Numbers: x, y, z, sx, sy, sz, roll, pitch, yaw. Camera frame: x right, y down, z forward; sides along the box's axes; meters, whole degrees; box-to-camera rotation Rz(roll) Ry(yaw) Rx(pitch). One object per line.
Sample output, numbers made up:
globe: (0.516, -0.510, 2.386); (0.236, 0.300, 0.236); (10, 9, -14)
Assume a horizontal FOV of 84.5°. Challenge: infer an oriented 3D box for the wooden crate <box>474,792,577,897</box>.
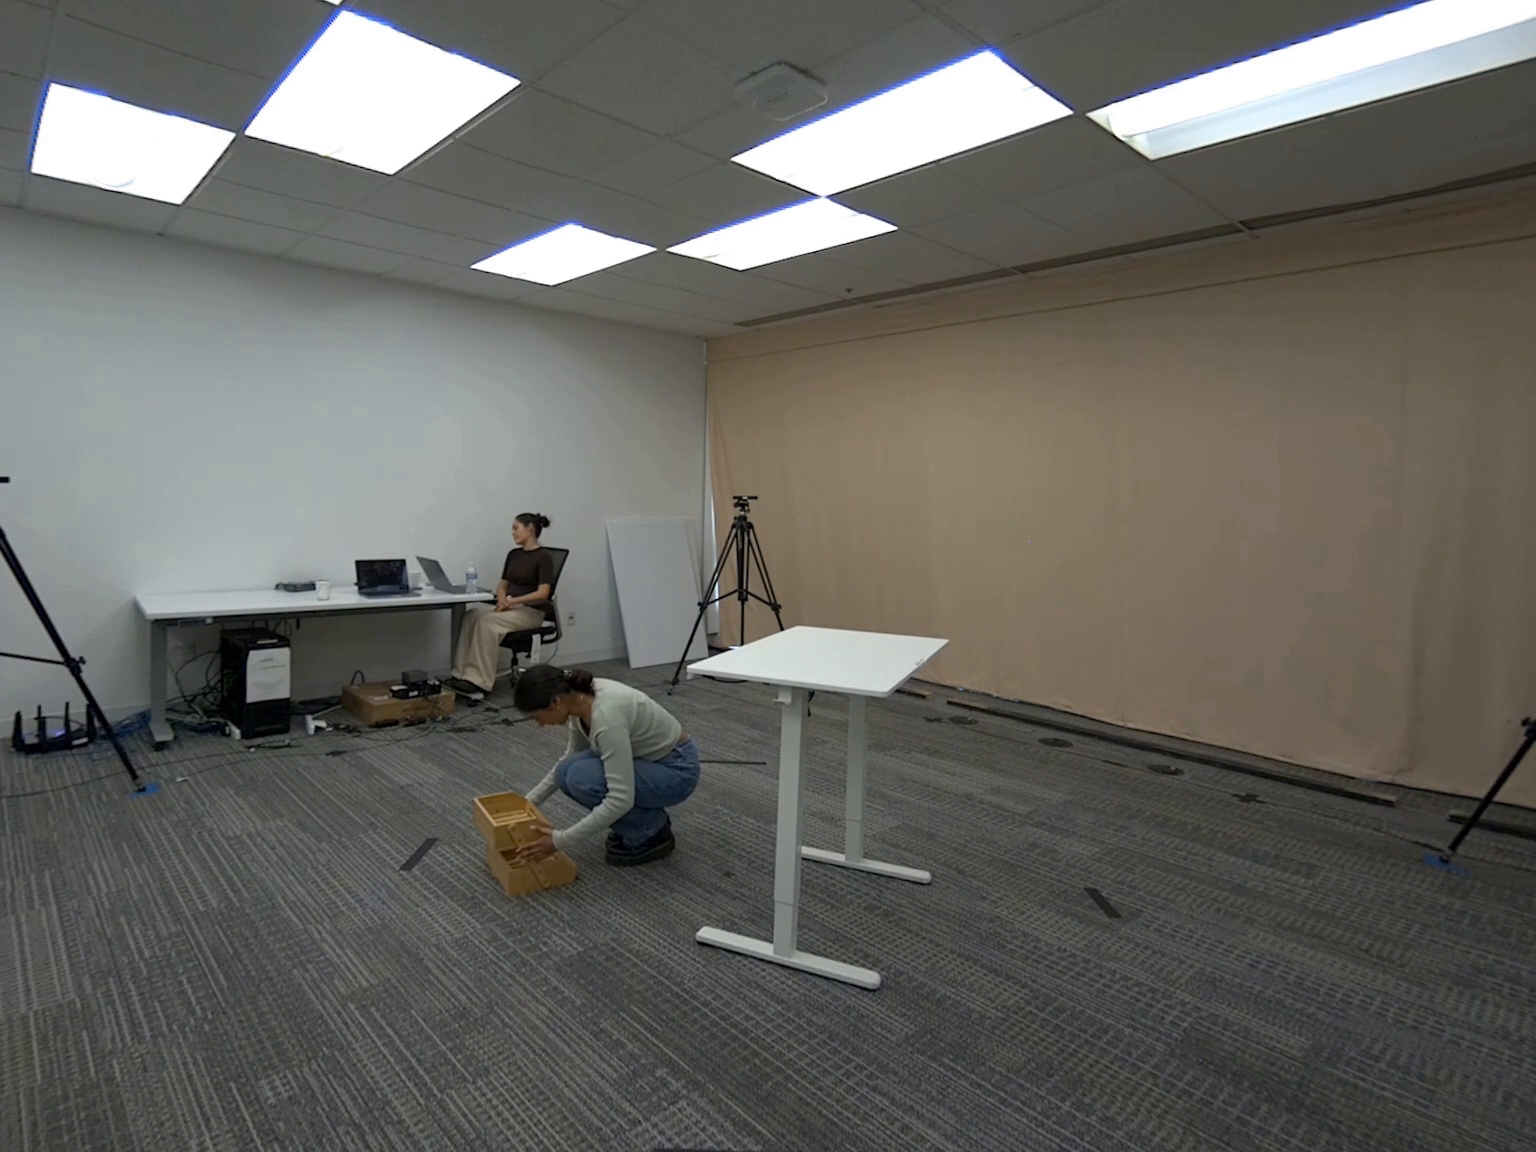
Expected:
wooden crate: (-0.895, 0.954, 3.064); (0.296, 0.272, 0.332); (-2, 6, -32)
